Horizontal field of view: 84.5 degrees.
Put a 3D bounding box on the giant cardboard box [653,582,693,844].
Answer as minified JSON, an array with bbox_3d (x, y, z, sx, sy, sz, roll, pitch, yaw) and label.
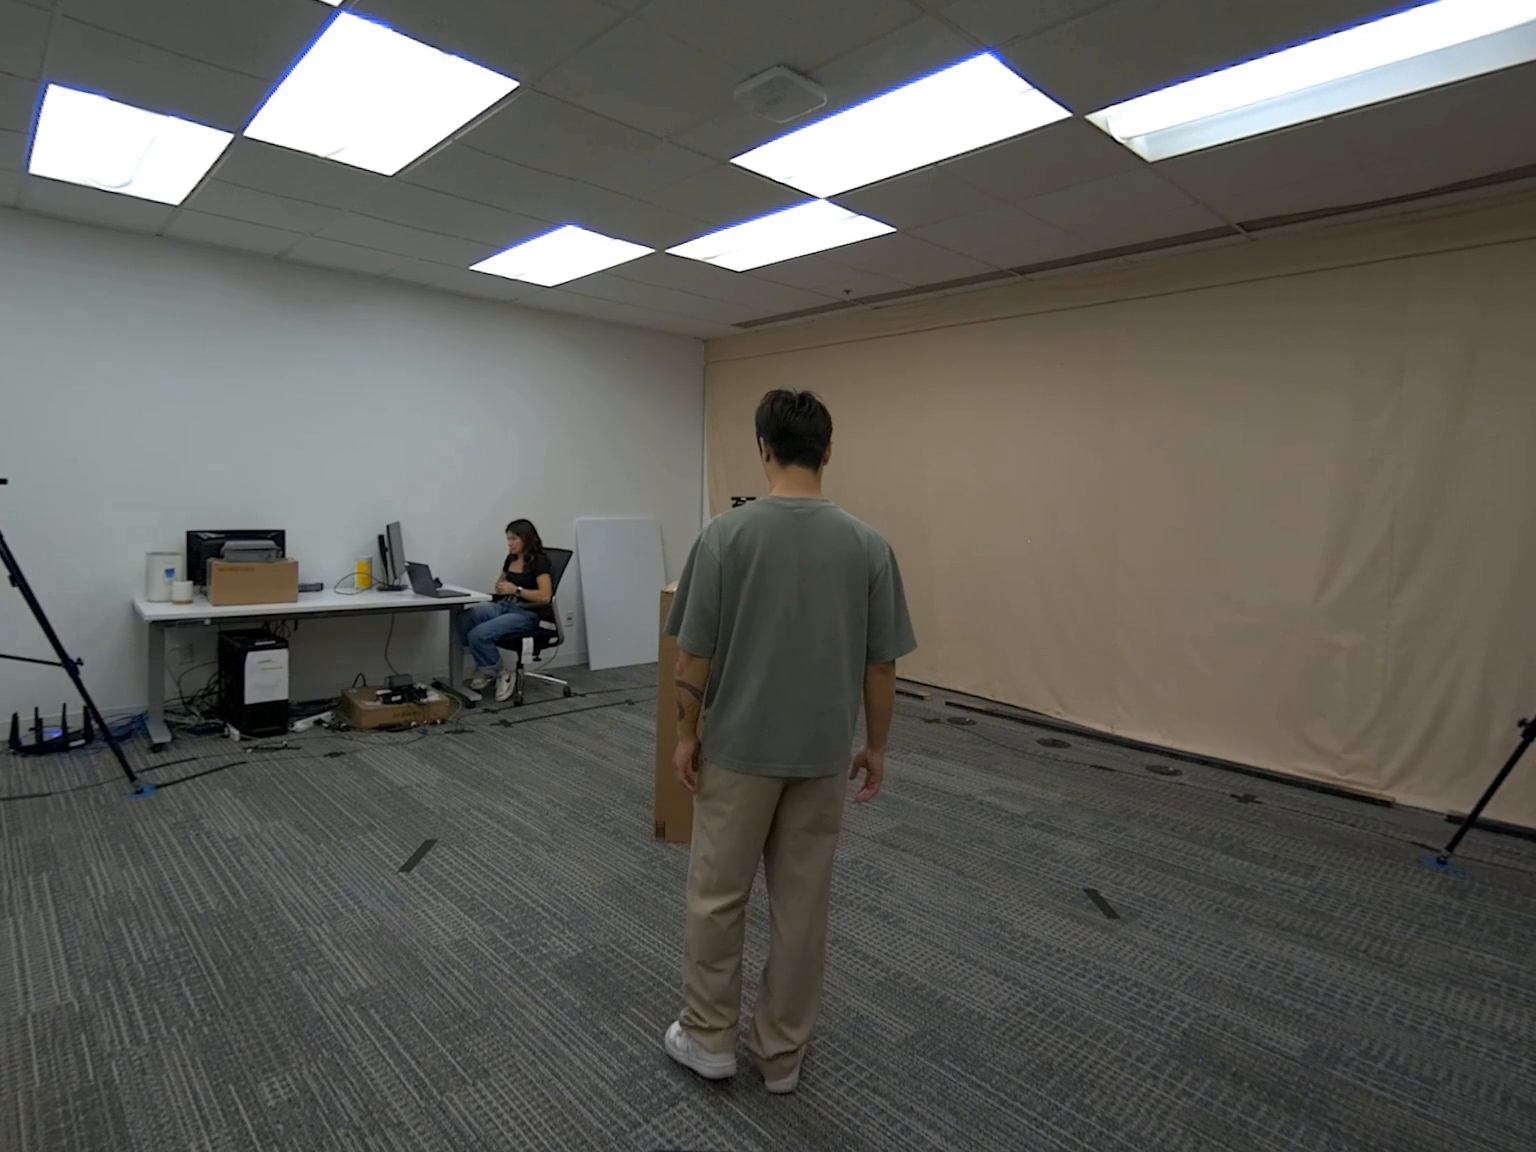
[{"bbox_3d":[-0.158,0.559,3.562,0.579,1.023,0.426,2,4,4],"label":"giant cardboard box"}]
